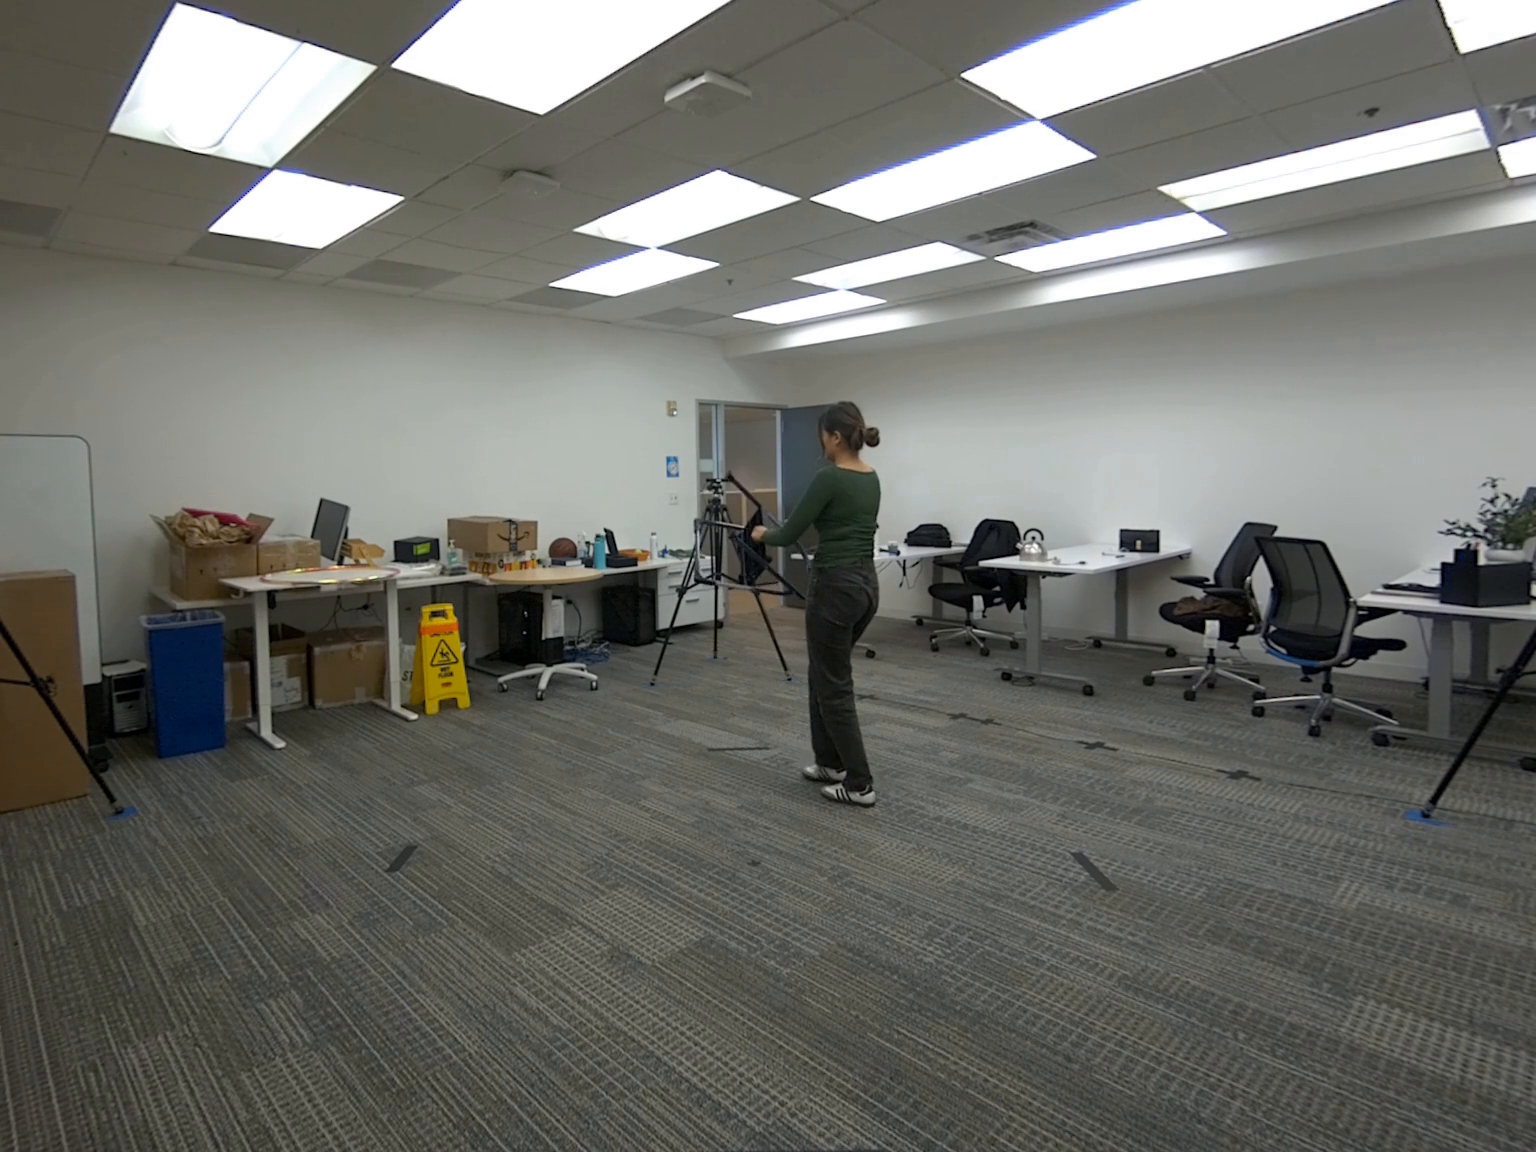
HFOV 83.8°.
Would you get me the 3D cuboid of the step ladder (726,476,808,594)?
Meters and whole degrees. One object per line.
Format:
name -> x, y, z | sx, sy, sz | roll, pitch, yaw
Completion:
step ladder -> 0.002, -0.121, 3.958 | 0.591, 0.443, 0.348 | 22, -50, -23
